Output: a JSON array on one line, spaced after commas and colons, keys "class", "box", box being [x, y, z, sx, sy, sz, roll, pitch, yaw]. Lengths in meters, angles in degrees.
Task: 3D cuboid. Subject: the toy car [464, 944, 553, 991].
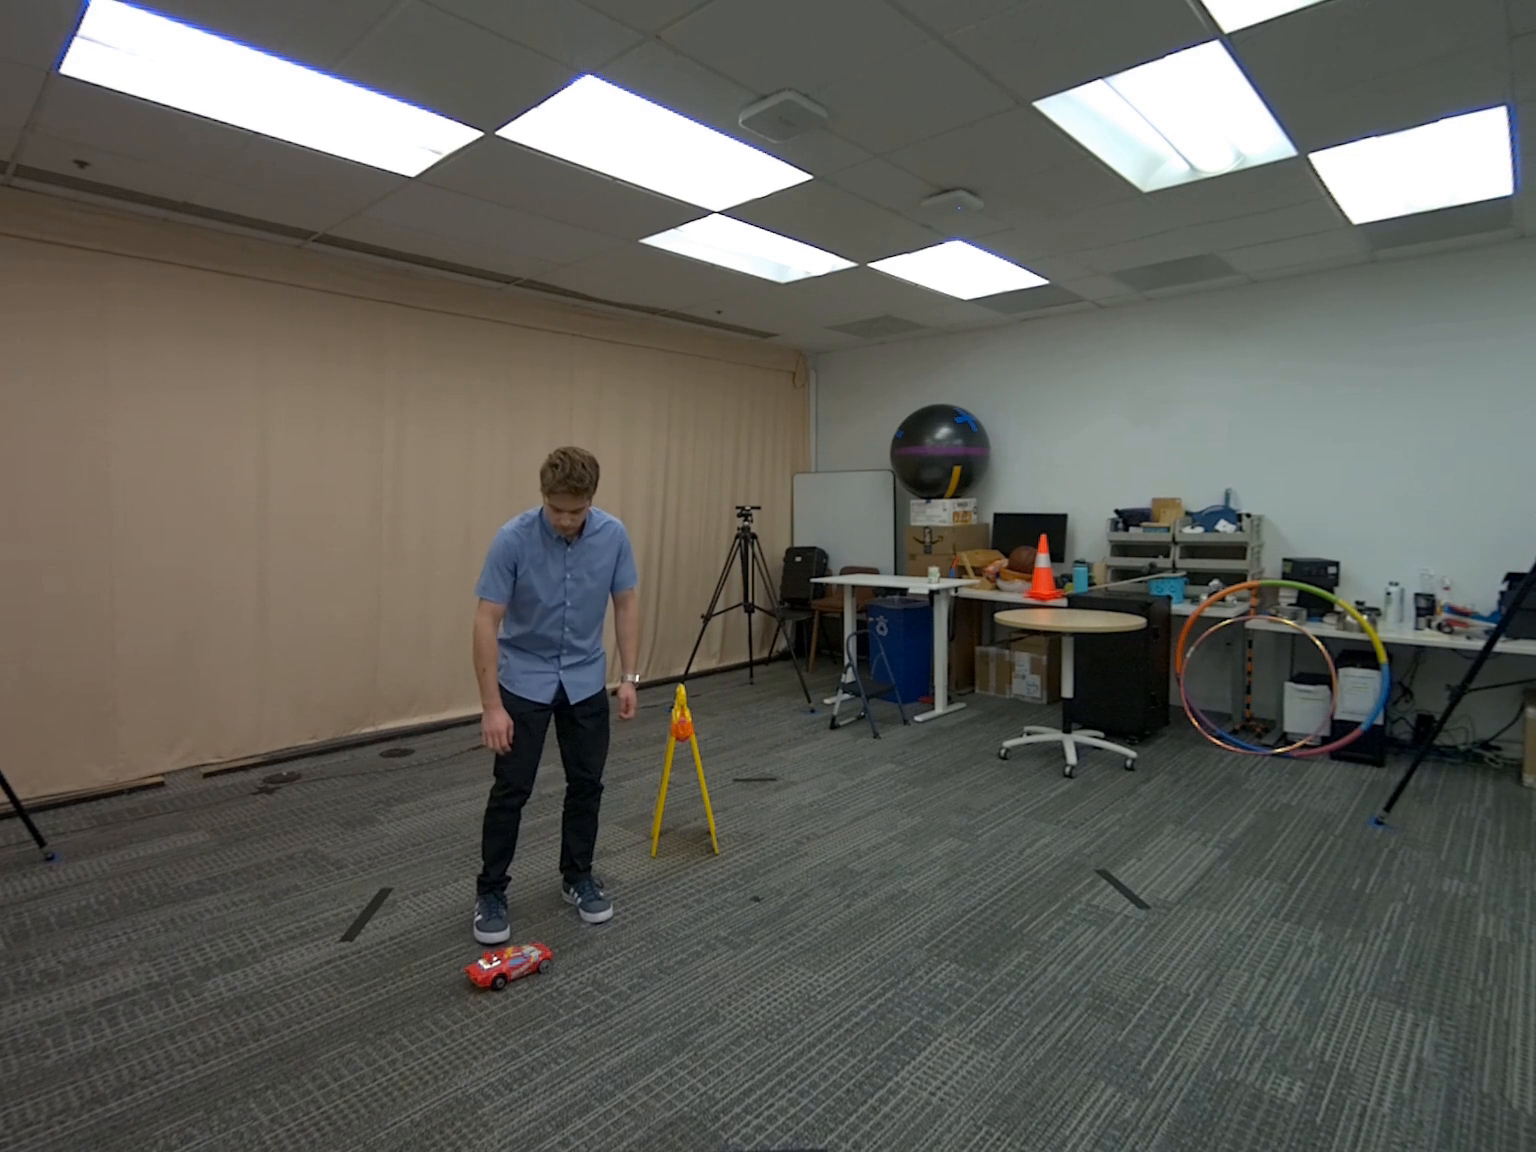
[{"class": "toy car", "box": [-0.776, 1.156, 2.499, 0.246, 0.083, 0.134, 10, -4, -39]}]
